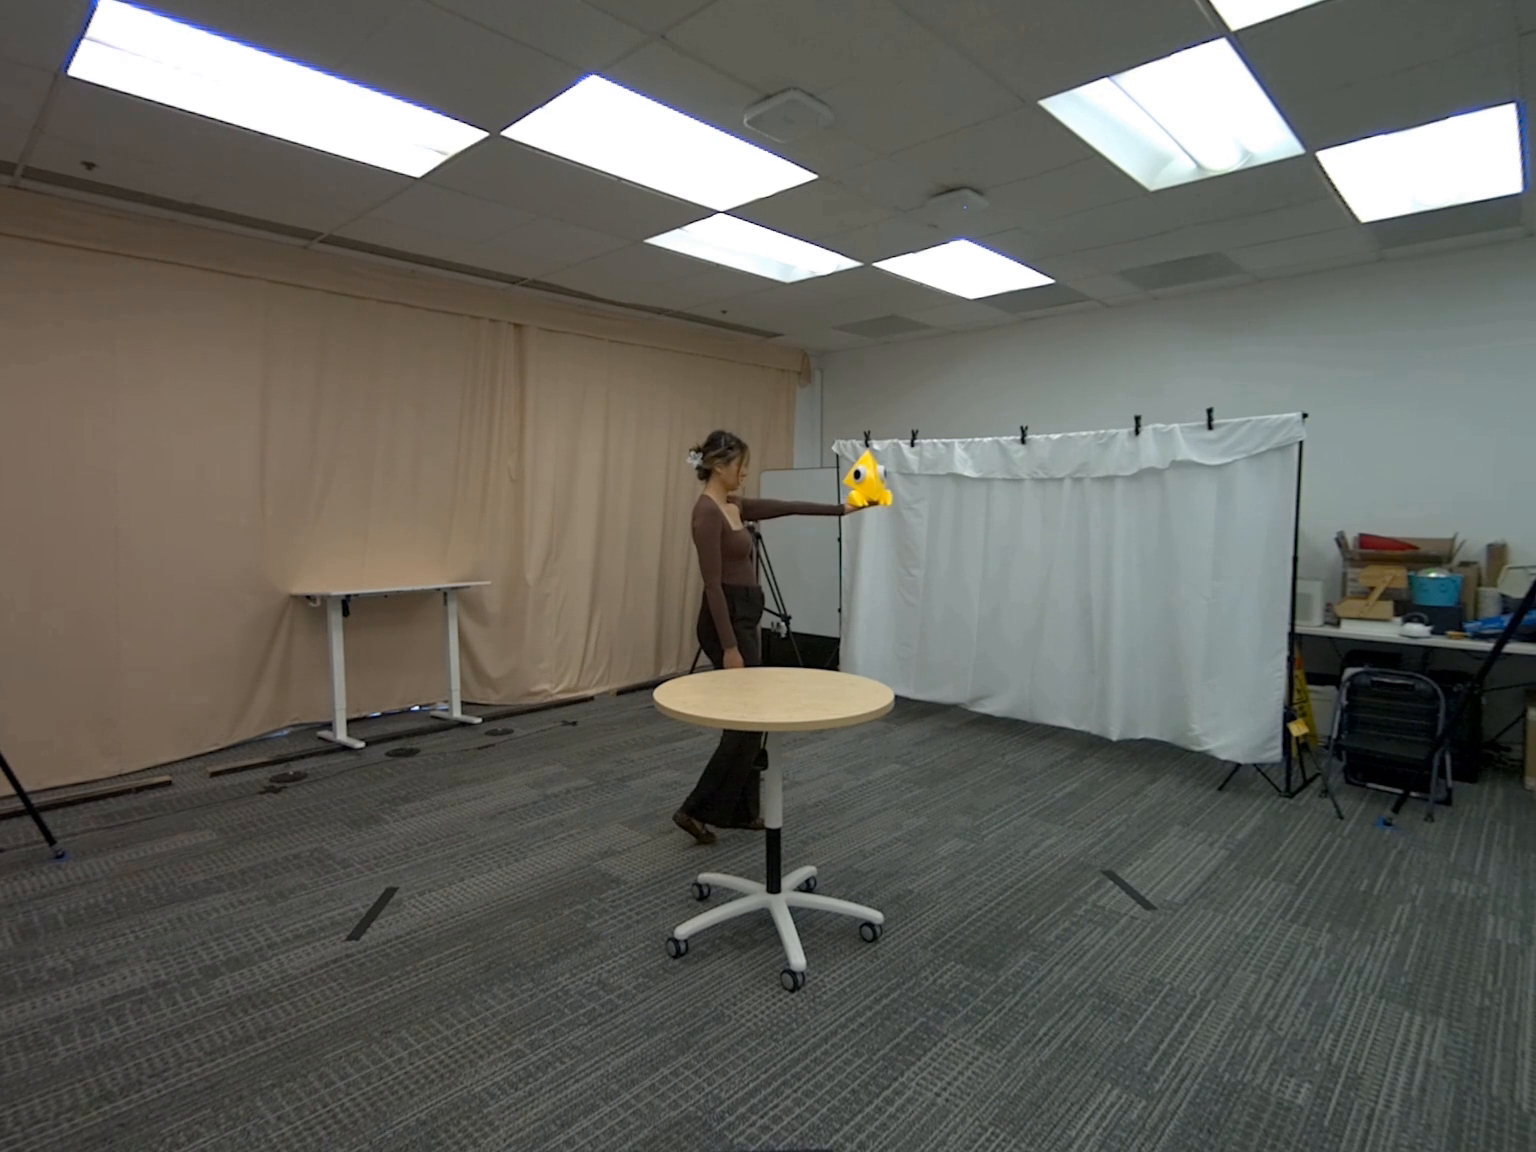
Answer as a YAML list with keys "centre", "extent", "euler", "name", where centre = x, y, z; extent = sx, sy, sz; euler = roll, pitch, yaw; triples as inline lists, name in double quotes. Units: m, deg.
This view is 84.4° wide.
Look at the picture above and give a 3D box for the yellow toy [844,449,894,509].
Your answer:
- centre: [0.461, -0.444, 3.786]
  extent: [0.203, 0.229, 0.196]
  euler: [-2, 14, -8]
  name: "yellow toy"
